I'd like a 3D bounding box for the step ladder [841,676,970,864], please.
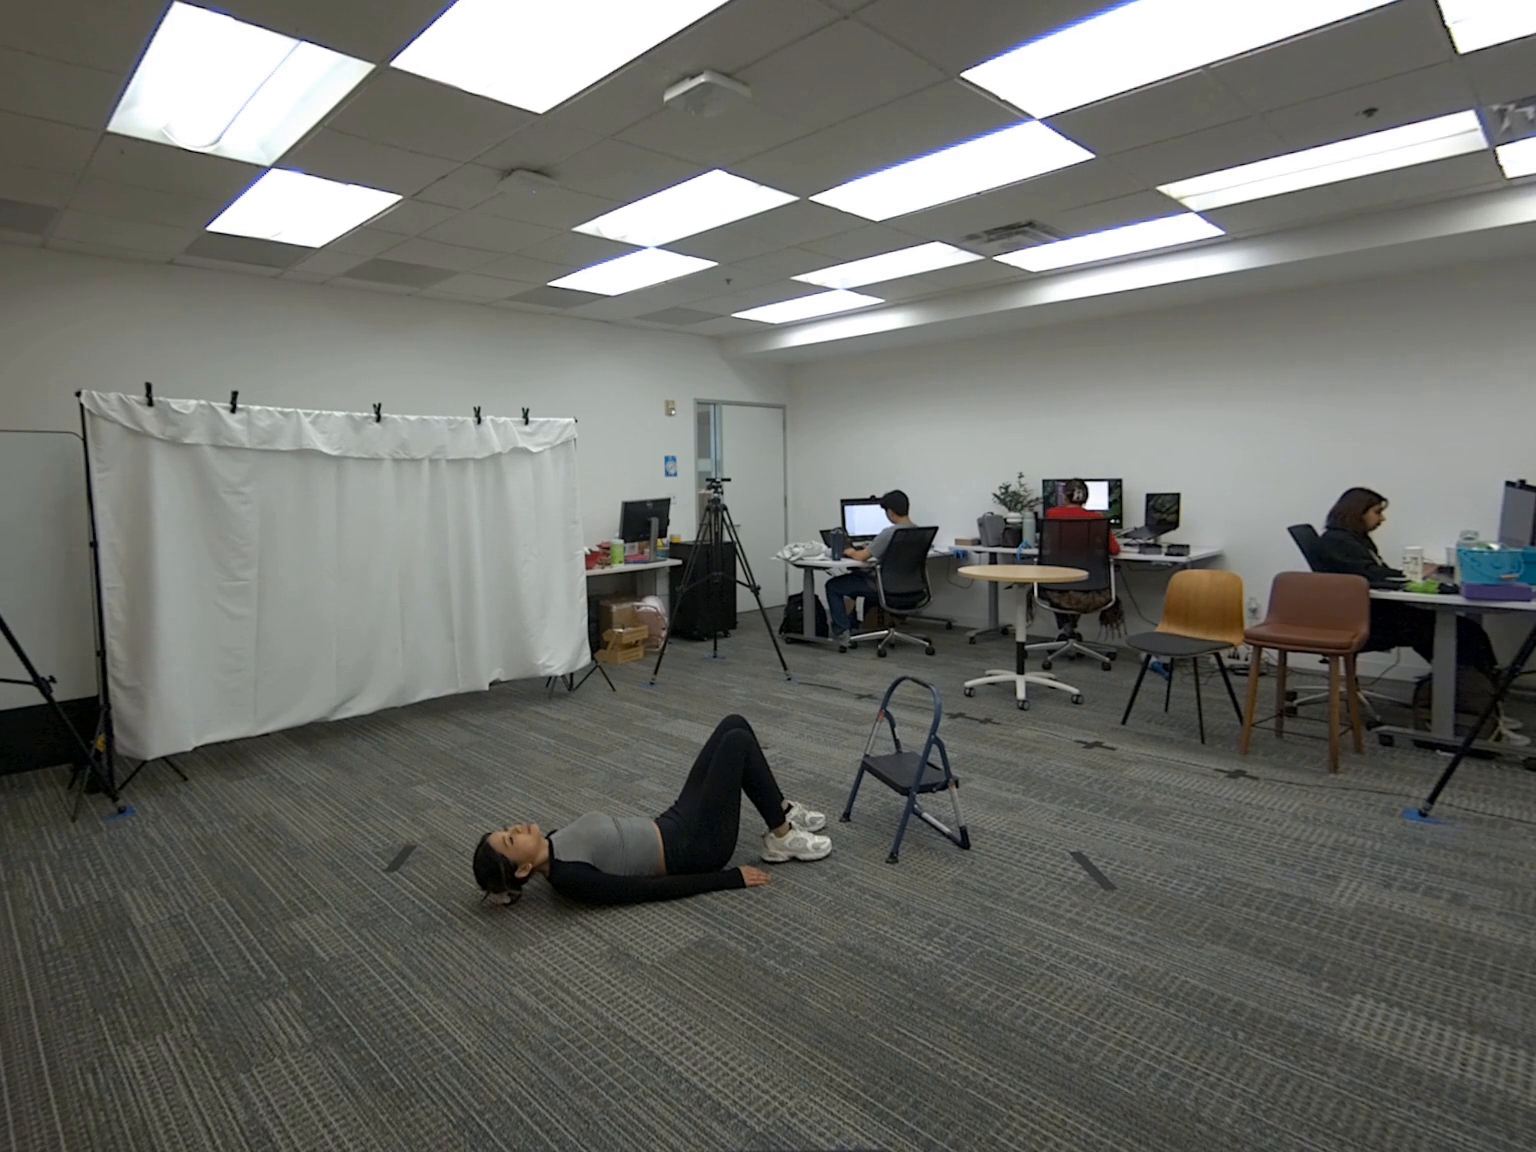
[{"bbox_3d":[0.523,0.708,3.315,0.343,0.604,0.440,-2,4,-20],"label":"step ladder"}]
